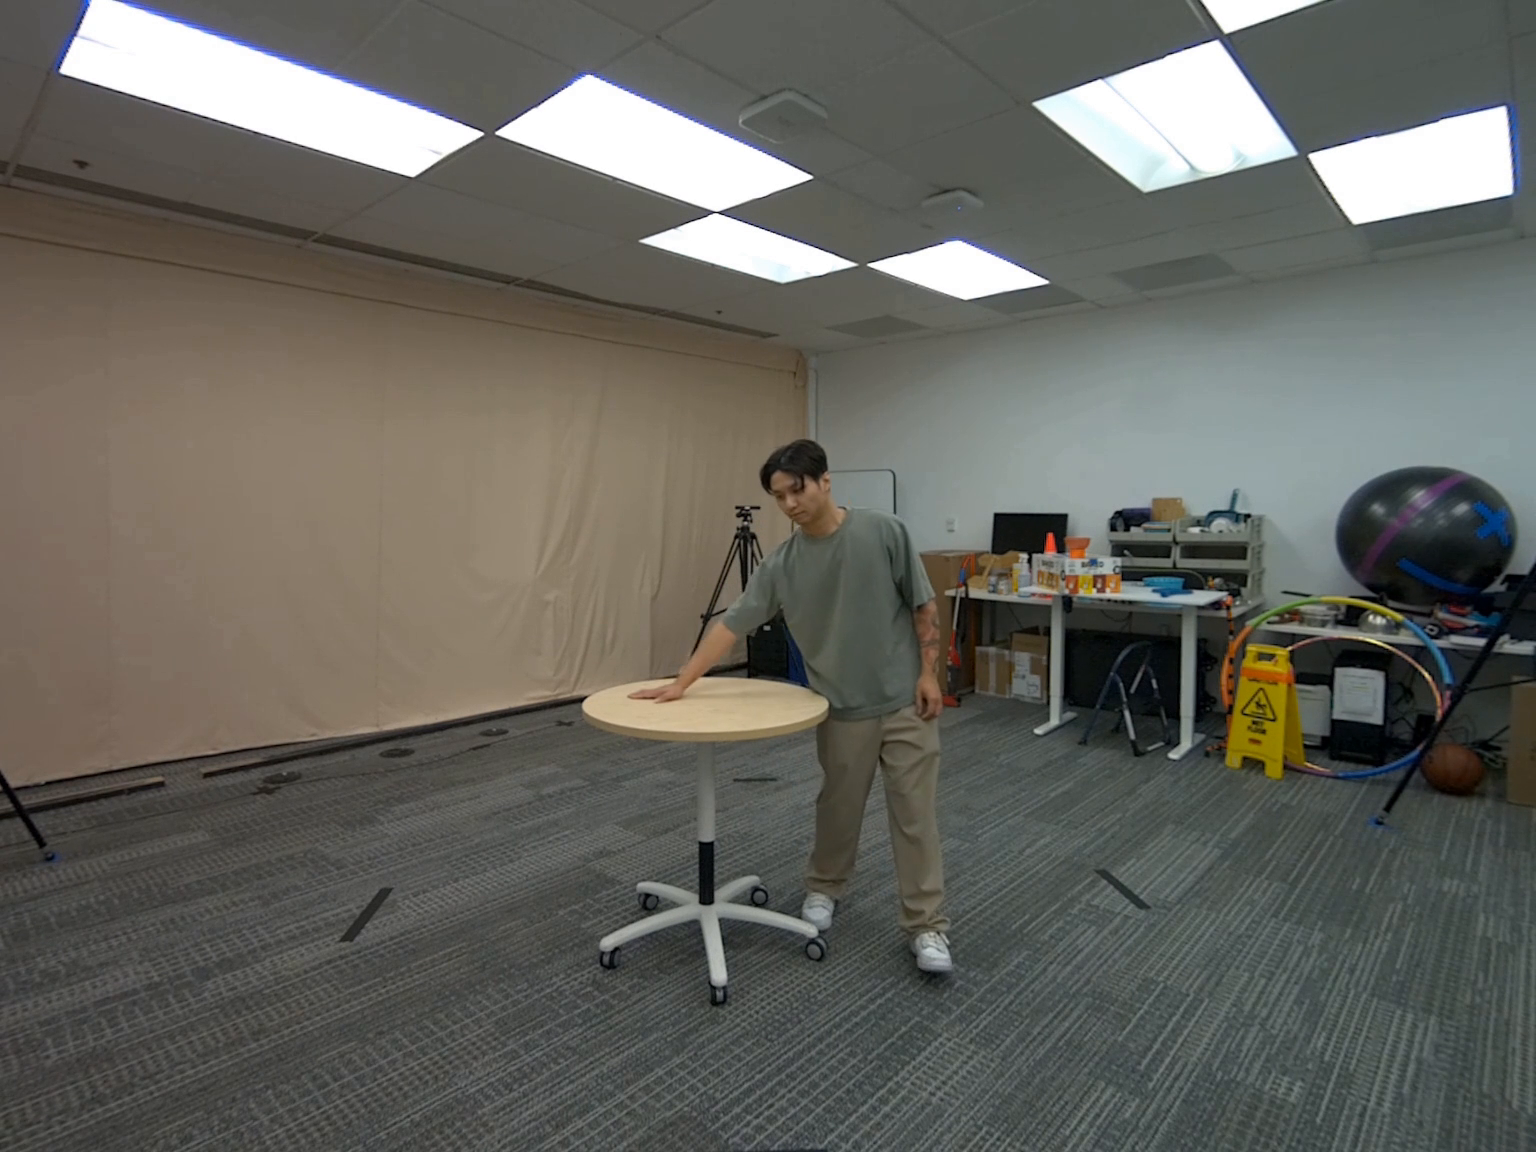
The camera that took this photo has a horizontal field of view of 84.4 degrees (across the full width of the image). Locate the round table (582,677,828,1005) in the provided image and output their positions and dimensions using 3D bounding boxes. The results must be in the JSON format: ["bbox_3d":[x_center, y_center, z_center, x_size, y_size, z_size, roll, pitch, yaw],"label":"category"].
[{"bbox_3d":[-0.195,0.789,2.648,0.763,0.792,0.766,0,3,-2],"label":"round table"}]
